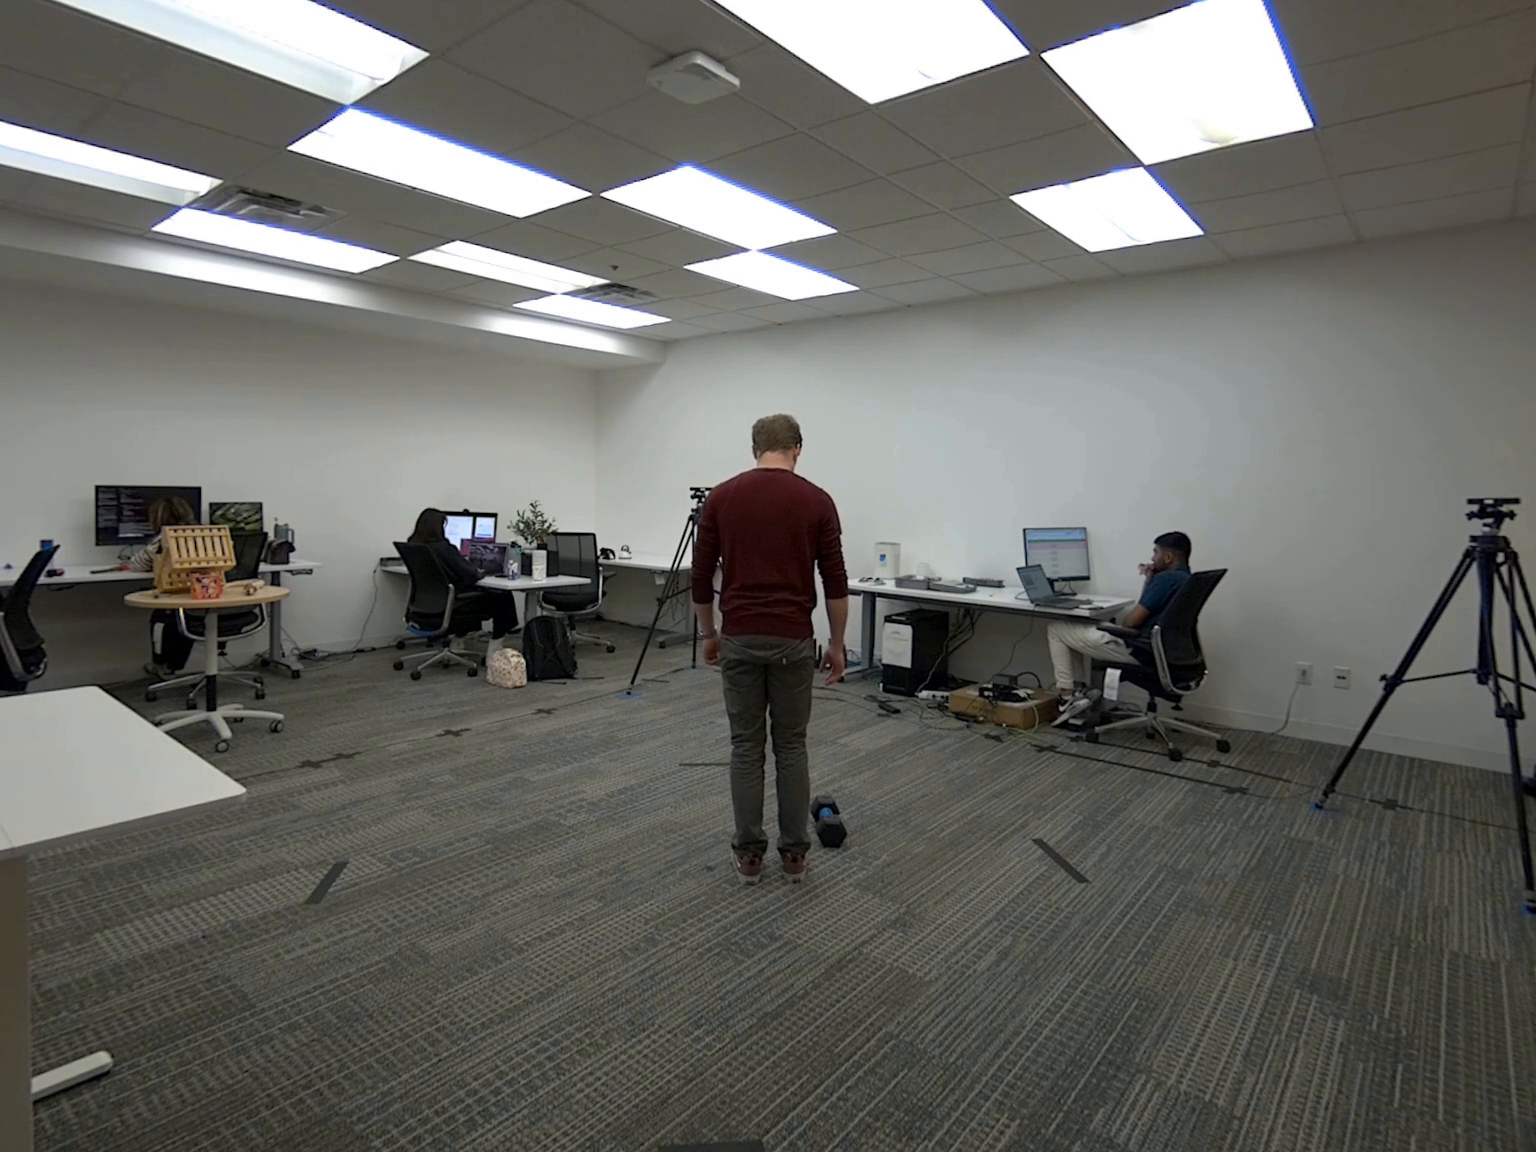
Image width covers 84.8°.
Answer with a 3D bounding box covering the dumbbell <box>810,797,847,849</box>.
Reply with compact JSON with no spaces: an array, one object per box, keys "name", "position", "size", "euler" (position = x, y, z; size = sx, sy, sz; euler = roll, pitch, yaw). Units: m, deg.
[{"name":"dumbbell","position":[0.236,0.989,3.456],"size":[0.109,0.122,0.295],"euler":[-30,6,0]}]
